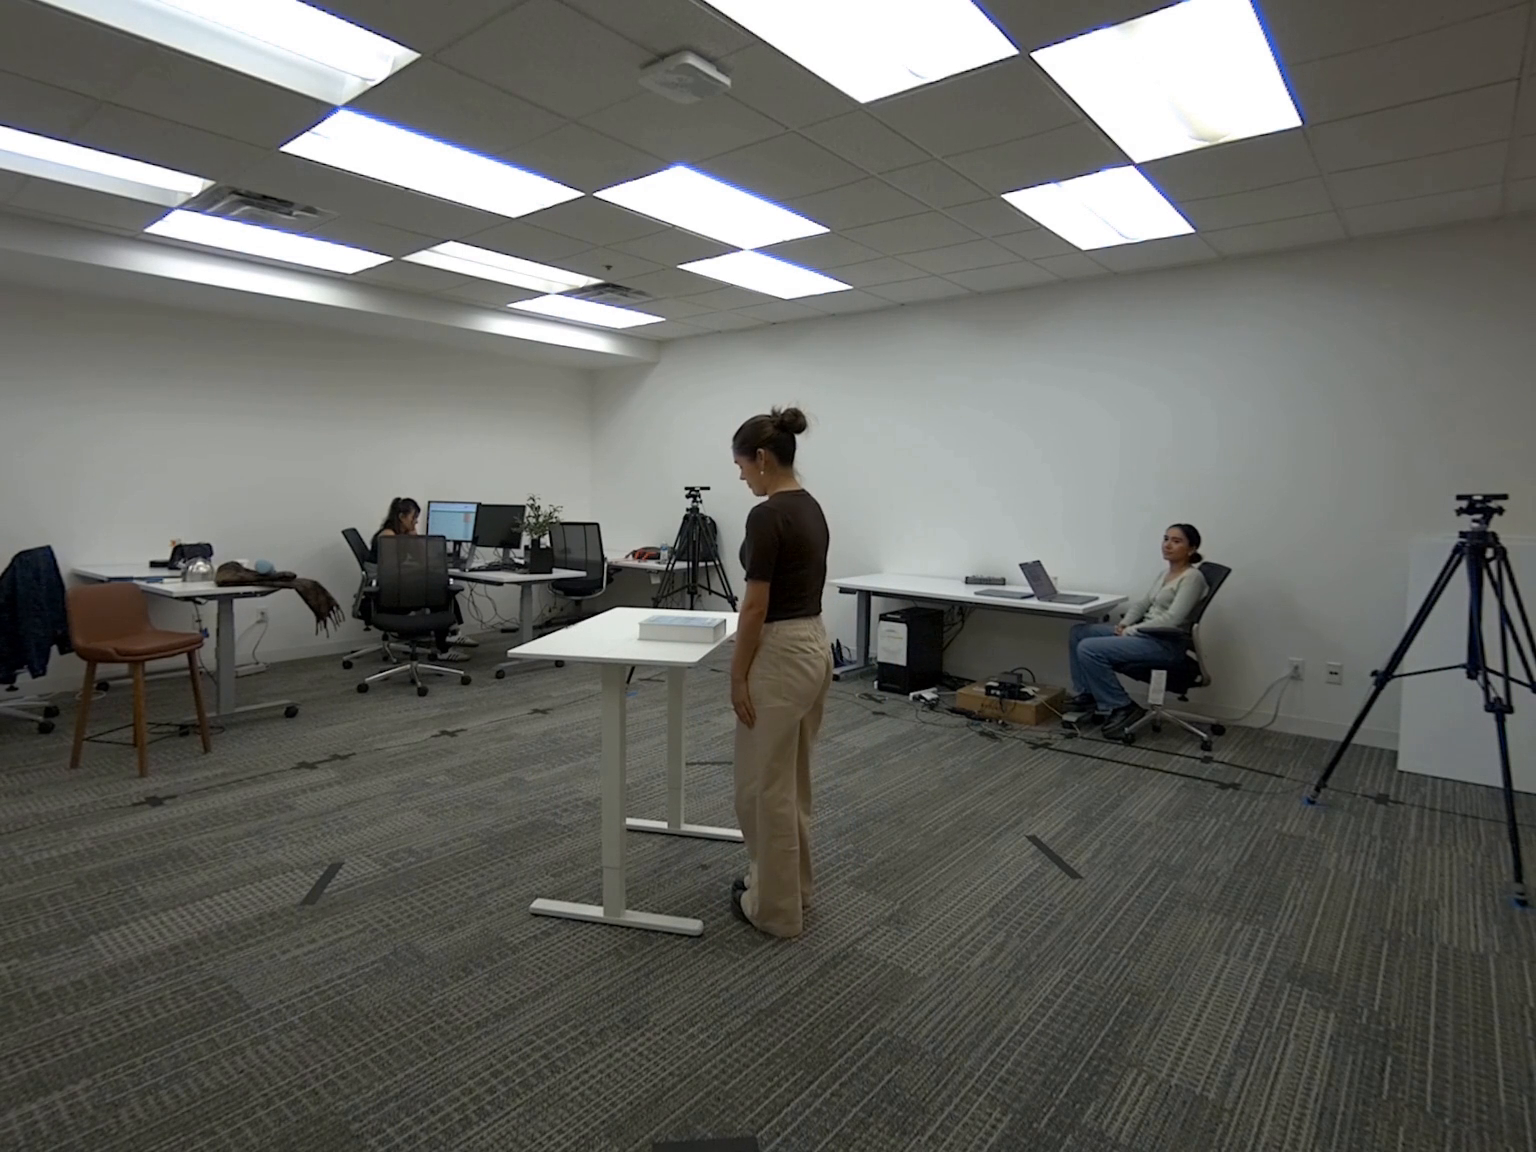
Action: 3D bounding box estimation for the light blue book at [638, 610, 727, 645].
[{"bbox_3d":[-0.297,0.176,2.871,0.265,0.059,0.190,2,7,12],"label":"light blue book"}]
